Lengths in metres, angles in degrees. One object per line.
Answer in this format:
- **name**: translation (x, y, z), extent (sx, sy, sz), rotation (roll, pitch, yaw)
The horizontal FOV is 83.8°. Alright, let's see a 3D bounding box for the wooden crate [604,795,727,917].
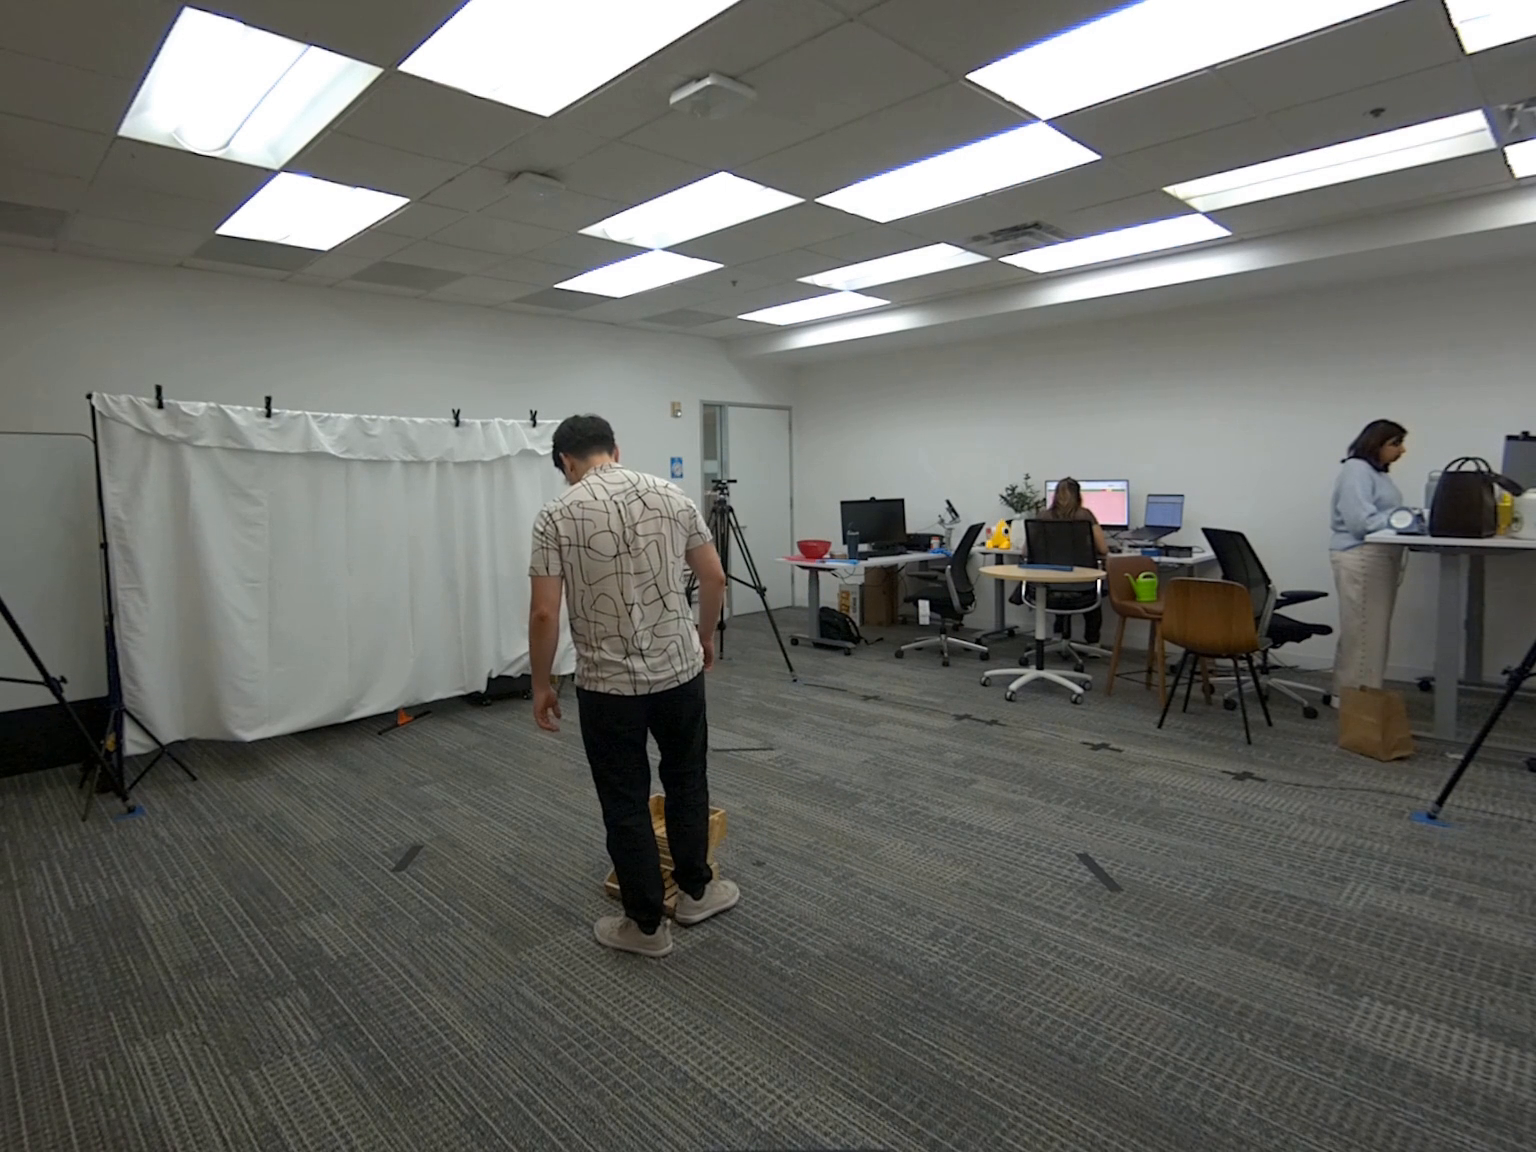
- **wooden crate**: translation (-0.345, 0.943, 2.908), extent (0.333, 0.272, 0.295), rotation (3, 5, 33)
